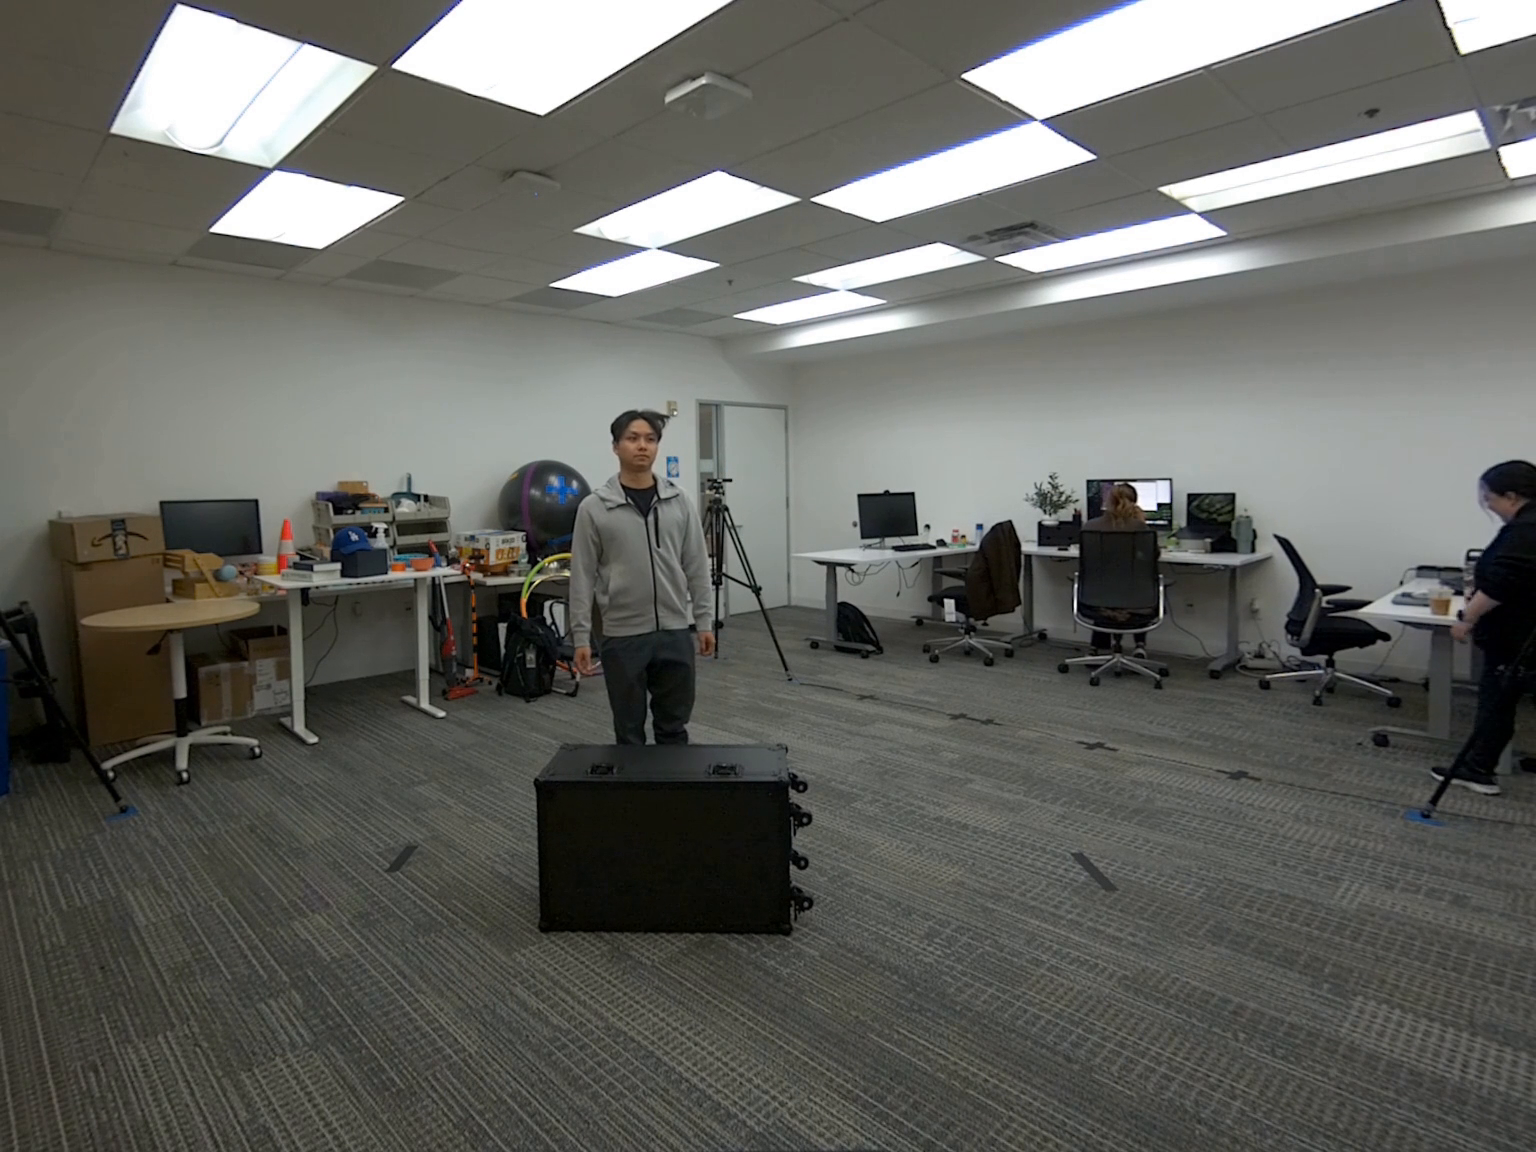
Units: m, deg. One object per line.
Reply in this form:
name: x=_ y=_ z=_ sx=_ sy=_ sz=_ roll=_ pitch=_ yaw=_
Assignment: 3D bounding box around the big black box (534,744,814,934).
big black box: x=-0.288 y=0.841 z=2.805 sx=0.865 sy=0.519 sz=0.396 roll=-1 pitch=4 yaw=4
